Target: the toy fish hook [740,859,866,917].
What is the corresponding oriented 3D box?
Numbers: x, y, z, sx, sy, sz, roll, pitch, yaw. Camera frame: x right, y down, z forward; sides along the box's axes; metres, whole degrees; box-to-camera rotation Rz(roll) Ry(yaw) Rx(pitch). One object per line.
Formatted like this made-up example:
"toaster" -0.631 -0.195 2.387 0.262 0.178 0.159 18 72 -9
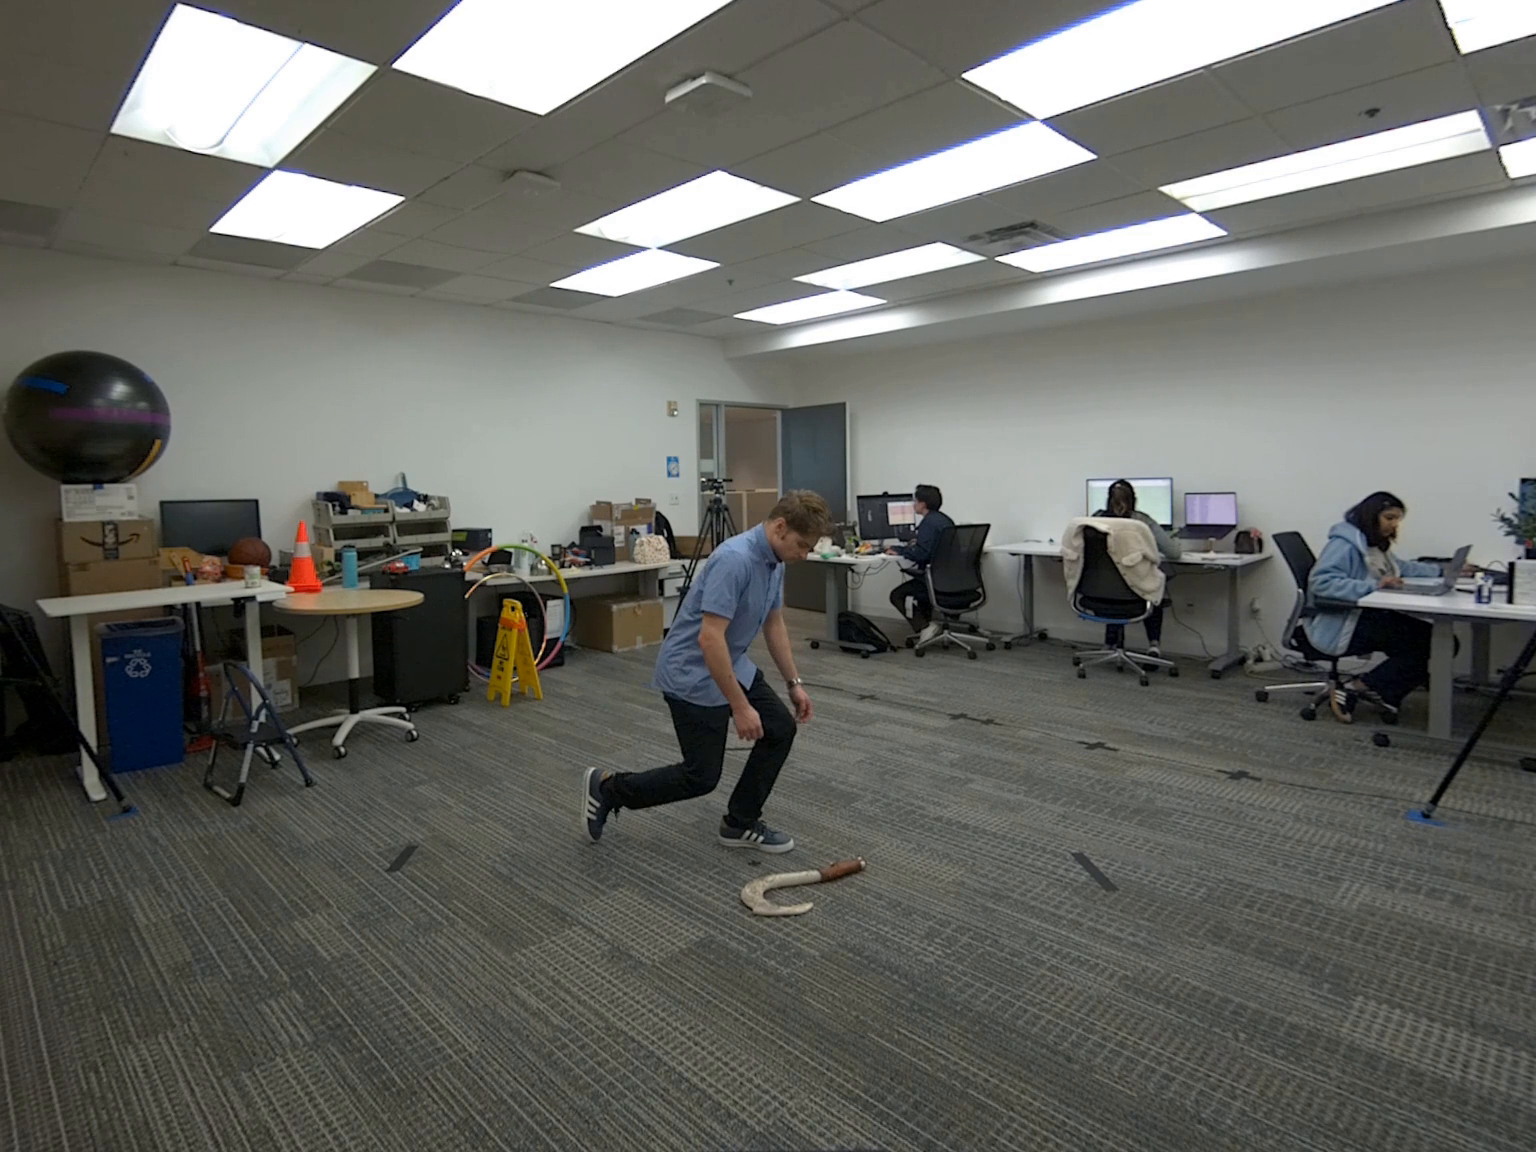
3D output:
"toy fish hook" 0.159 1.054 2.884 0.495 0.048 0.232 -5 16 -28
